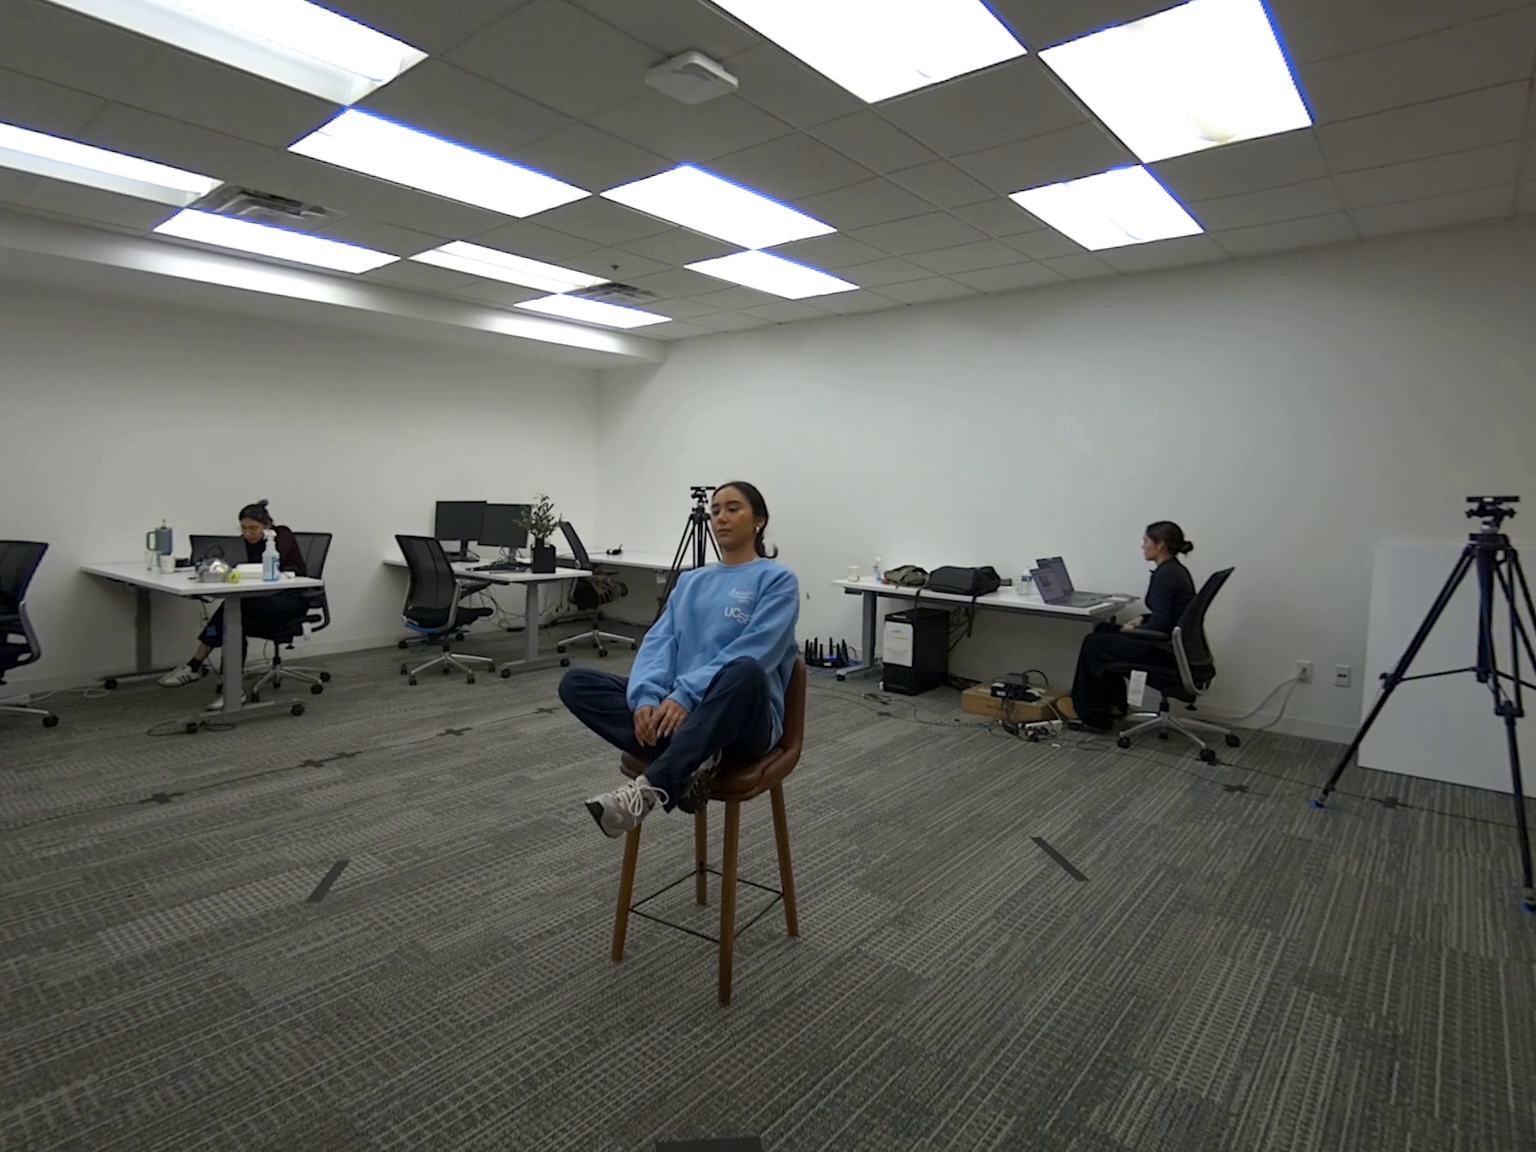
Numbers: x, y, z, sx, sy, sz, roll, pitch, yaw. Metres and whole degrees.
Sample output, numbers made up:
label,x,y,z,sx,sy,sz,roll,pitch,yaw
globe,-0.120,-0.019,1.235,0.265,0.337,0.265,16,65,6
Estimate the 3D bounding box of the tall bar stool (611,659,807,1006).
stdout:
label,x,y,z,sx,sy,sz,roll,pitch,yaw
tall bar stool,-0.169,0.687,2.557,0.470,0.888,0.454,3,2,32
